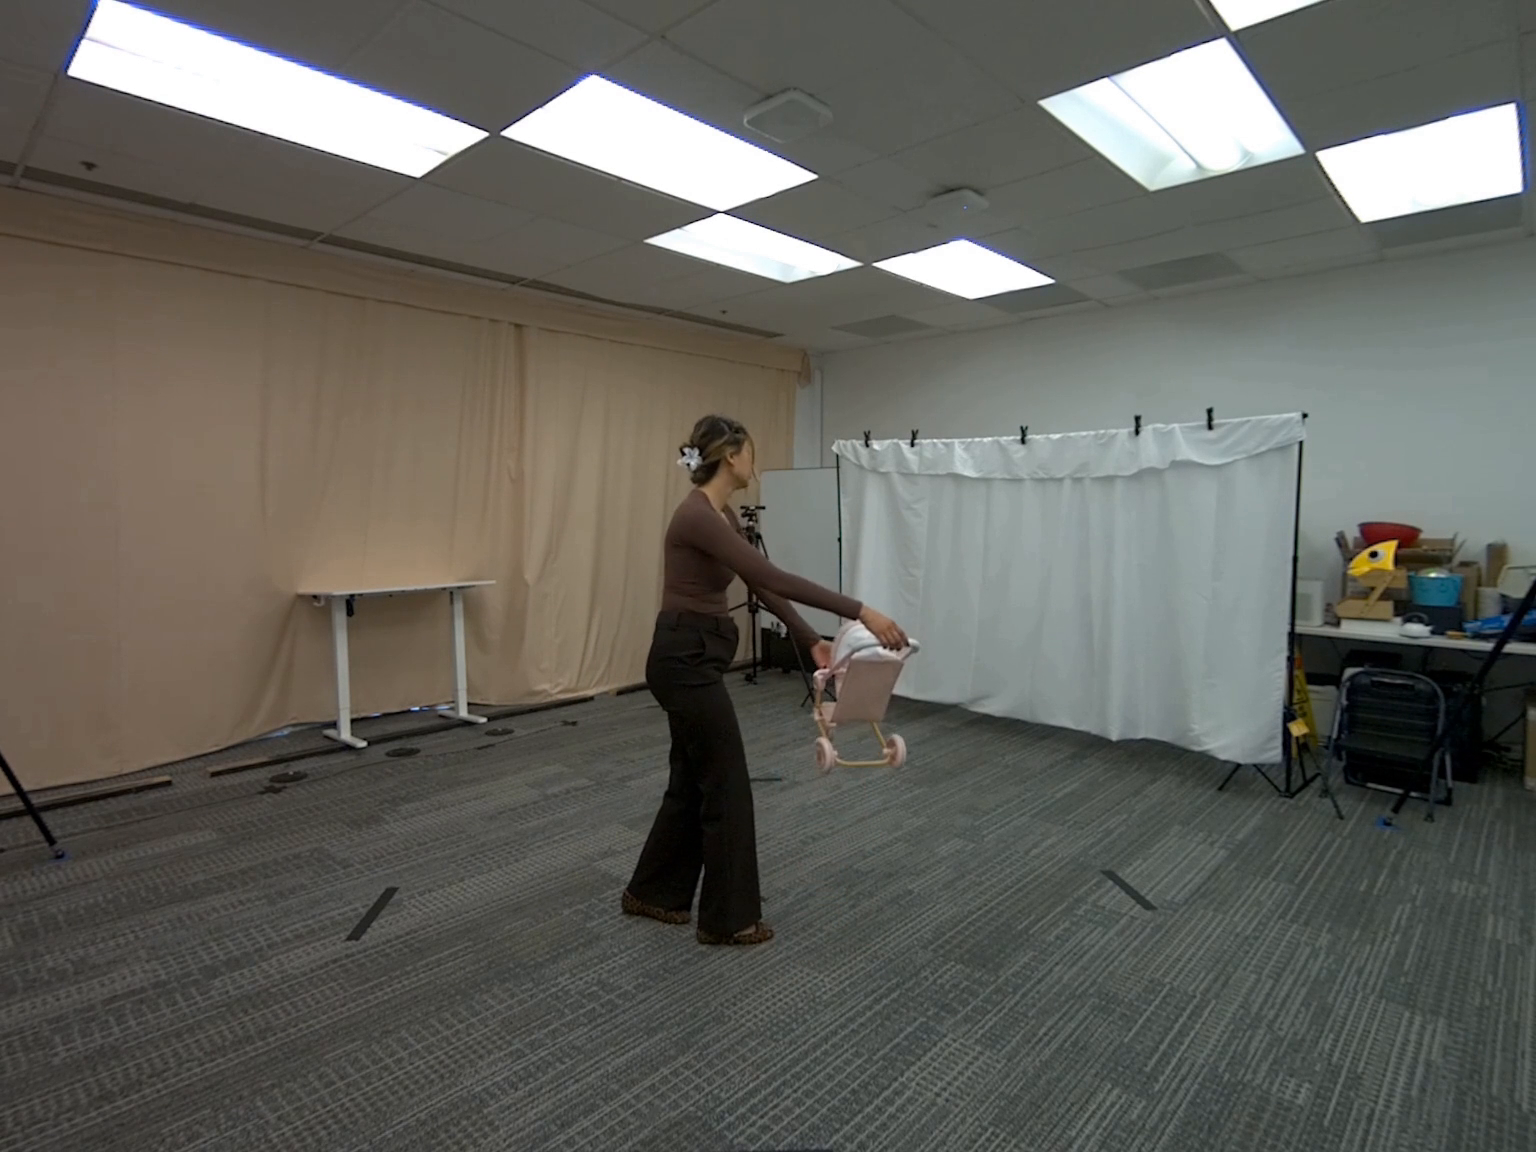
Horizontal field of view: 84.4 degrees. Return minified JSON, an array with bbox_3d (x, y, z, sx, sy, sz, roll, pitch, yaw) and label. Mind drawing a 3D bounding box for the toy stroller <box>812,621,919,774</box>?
[{"bbox_3d":[0.289,0.367,2.666,0.277,0.530,0.349,3,21,-14],"label":"toy stroller"}]
